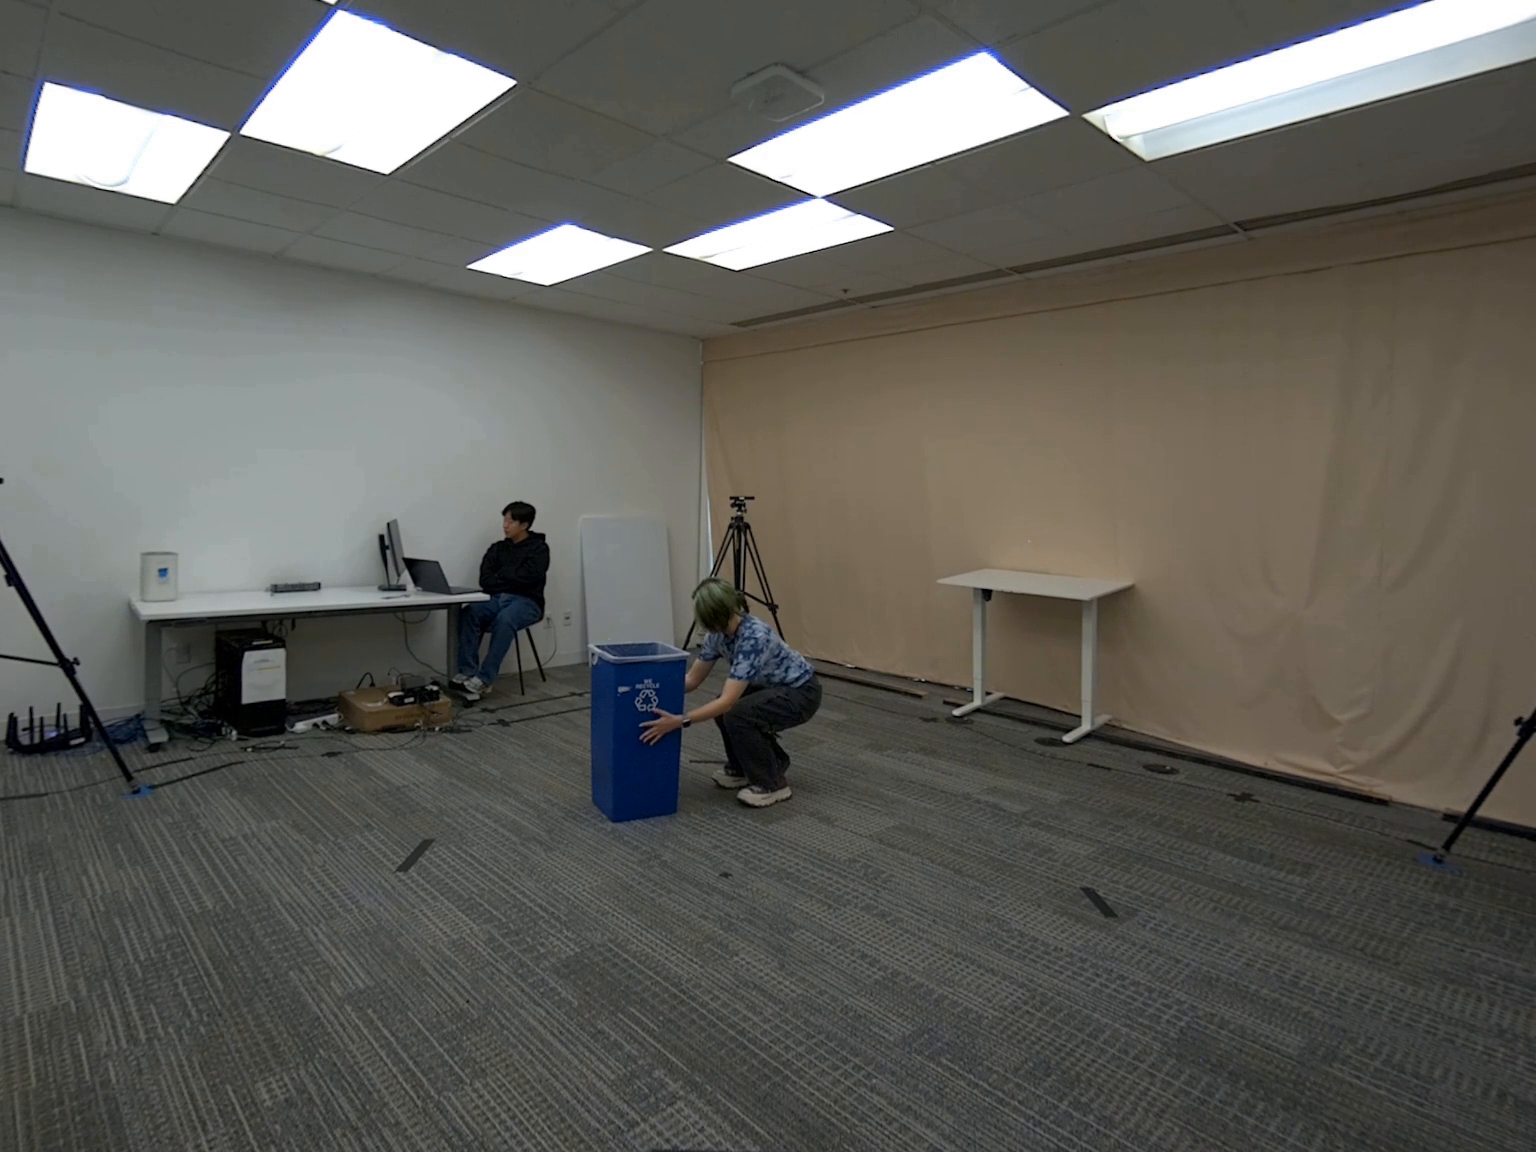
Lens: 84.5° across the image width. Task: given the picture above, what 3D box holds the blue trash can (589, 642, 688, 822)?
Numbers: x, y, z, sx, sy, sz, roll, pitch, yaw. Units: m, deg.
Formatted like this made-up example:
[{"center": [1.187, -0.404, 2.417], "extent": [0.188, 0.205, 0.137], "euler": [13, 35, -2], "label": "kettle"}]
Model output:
[{"center": [-0.595, 0.680, 3.759], "extent": [0.366, 0.712, 0.387], "euler": [0, 4, -30], "label": "blue trash can"}]
